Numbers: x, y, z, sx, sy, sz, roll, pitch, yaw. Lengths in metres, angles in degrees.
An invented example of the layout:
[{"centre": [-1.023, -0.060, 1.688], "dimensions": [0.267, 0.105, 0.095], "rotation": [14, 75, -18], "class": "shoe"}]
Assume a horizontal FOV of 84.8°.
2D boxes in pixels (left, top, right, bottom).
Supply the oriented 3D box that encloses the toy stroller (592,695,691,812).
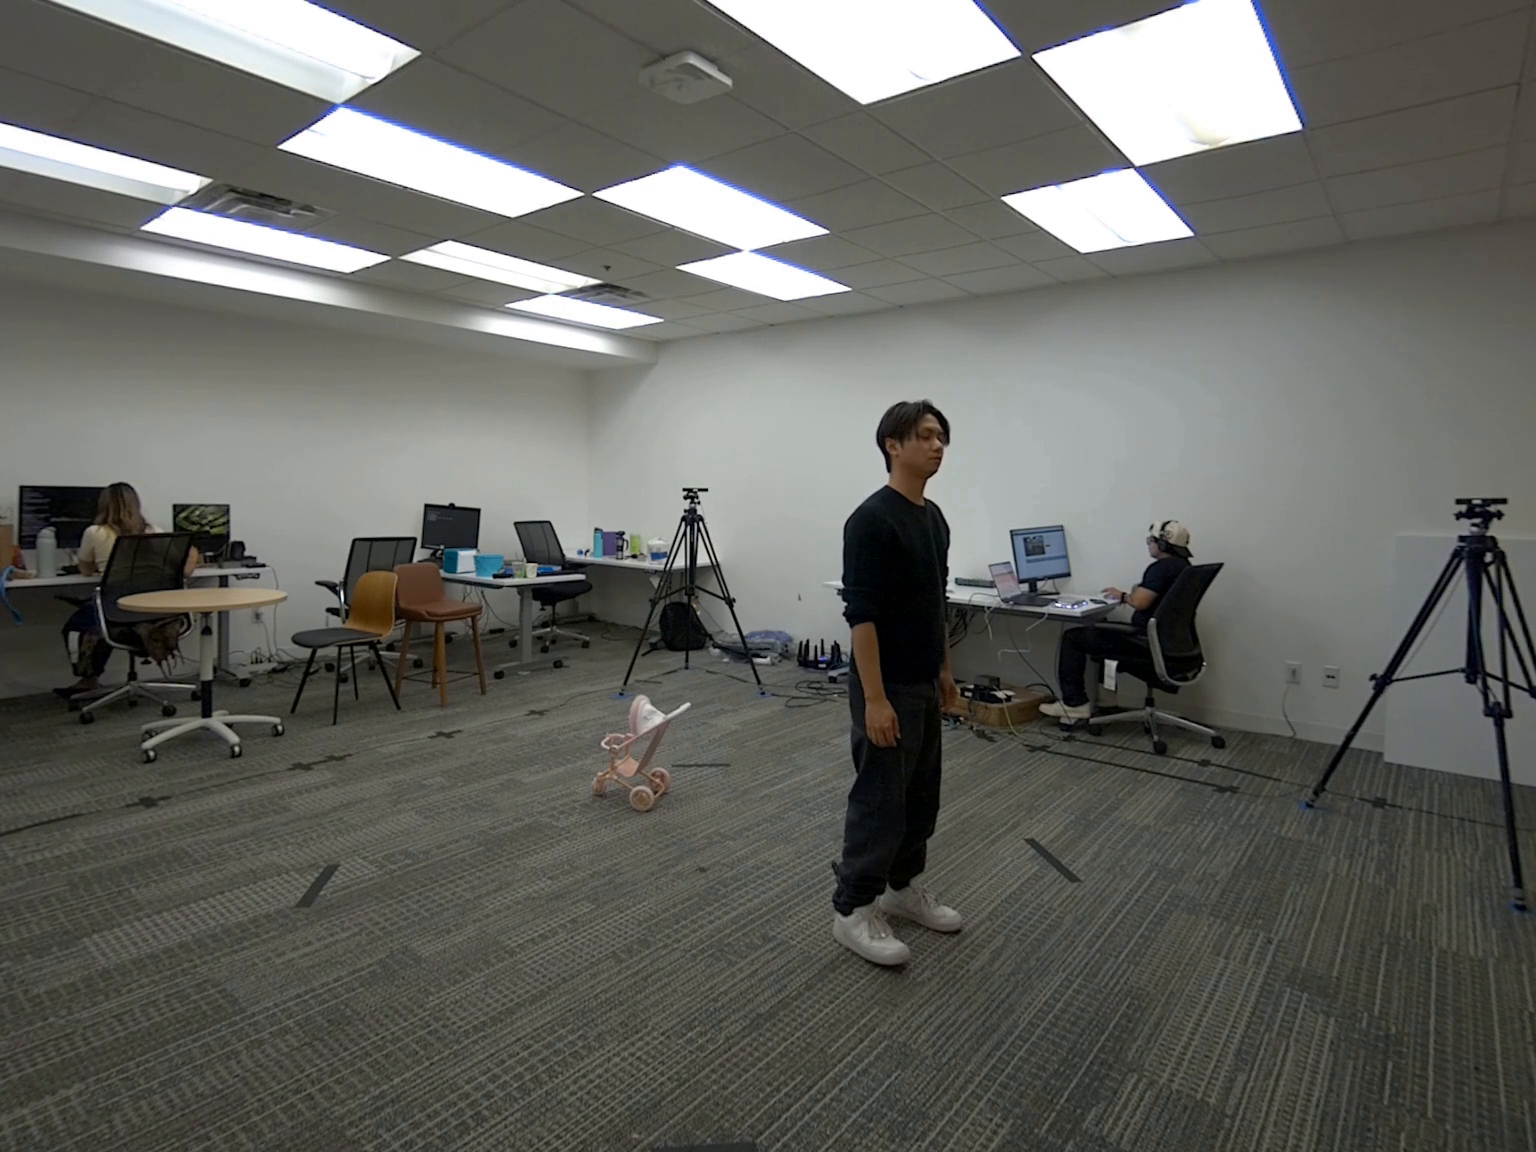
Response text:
[{"centre": [-0.595, 0.770, 3.794], "dimensions": [0.349, 0.532, 0.277], "rotation": [18, 8, 16], "class": "toy stroller"}]
